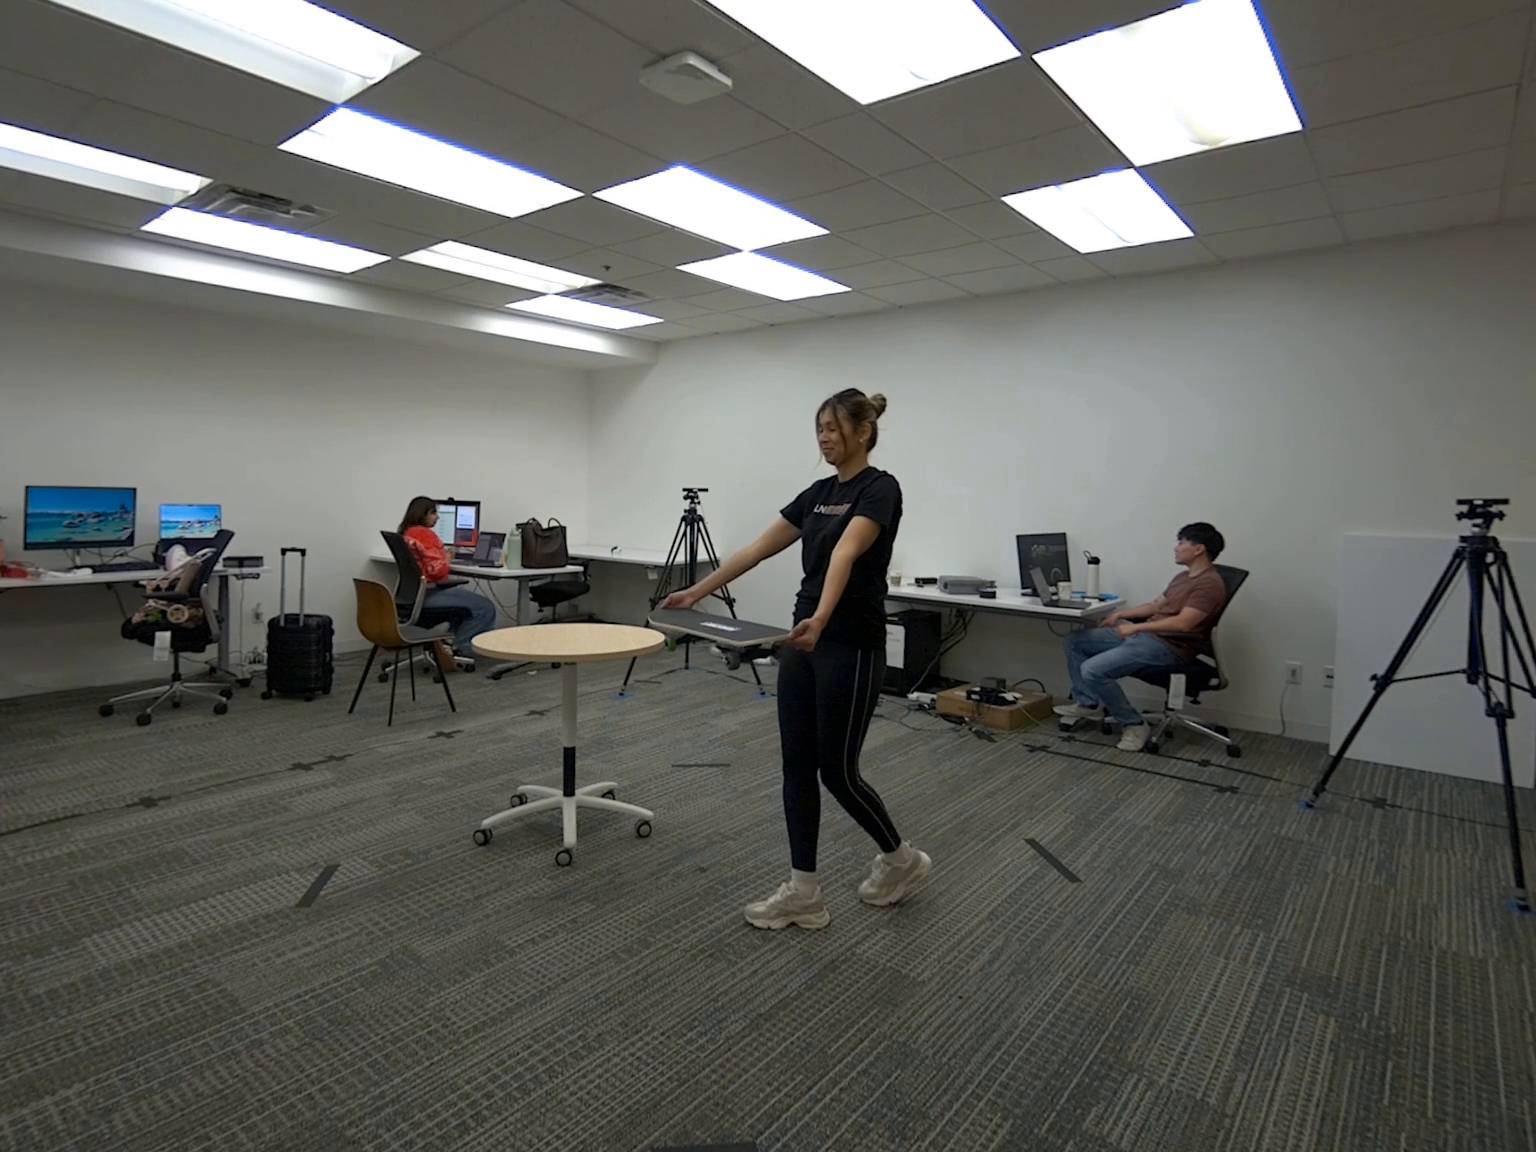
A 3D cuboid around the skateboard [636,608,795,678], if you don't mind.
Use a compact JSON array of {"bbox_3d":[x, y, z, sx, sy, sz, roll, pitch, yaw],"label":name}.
[{"bbox_3d":[-0.151,0.185,2.569,0.189,0.110,0.807,-9,6,-31],"label":"skateboard"}]
